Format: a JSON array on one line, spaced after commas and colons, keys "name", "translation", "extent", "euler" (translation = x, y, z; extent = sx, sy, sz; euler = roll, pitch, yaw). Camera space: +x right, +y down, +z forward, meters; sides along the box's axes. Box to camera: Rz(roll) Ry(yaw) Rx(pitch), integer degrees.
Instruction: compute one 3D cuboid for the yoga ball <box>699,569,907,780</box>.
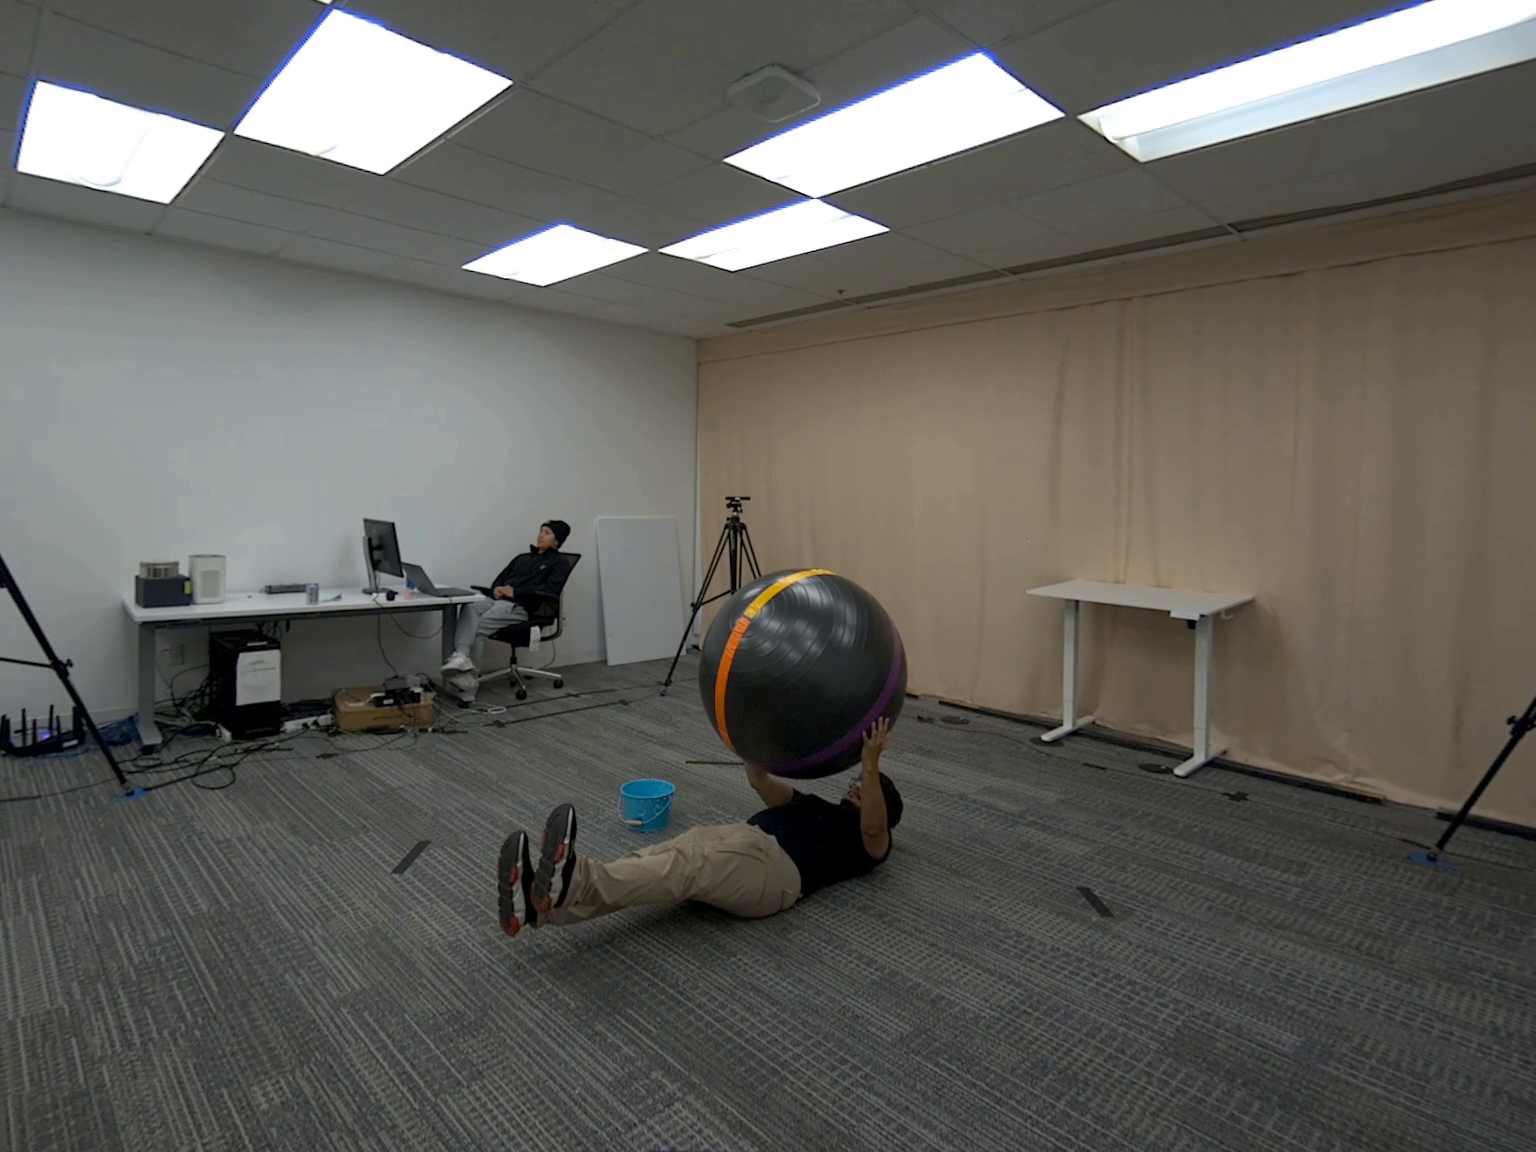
[{"name": "yoga ball", "translation": [0.123, 0.358, 3.073], "extent": [0.757, 0.755, 0.761], "euler": [1, 5, -1]}]
